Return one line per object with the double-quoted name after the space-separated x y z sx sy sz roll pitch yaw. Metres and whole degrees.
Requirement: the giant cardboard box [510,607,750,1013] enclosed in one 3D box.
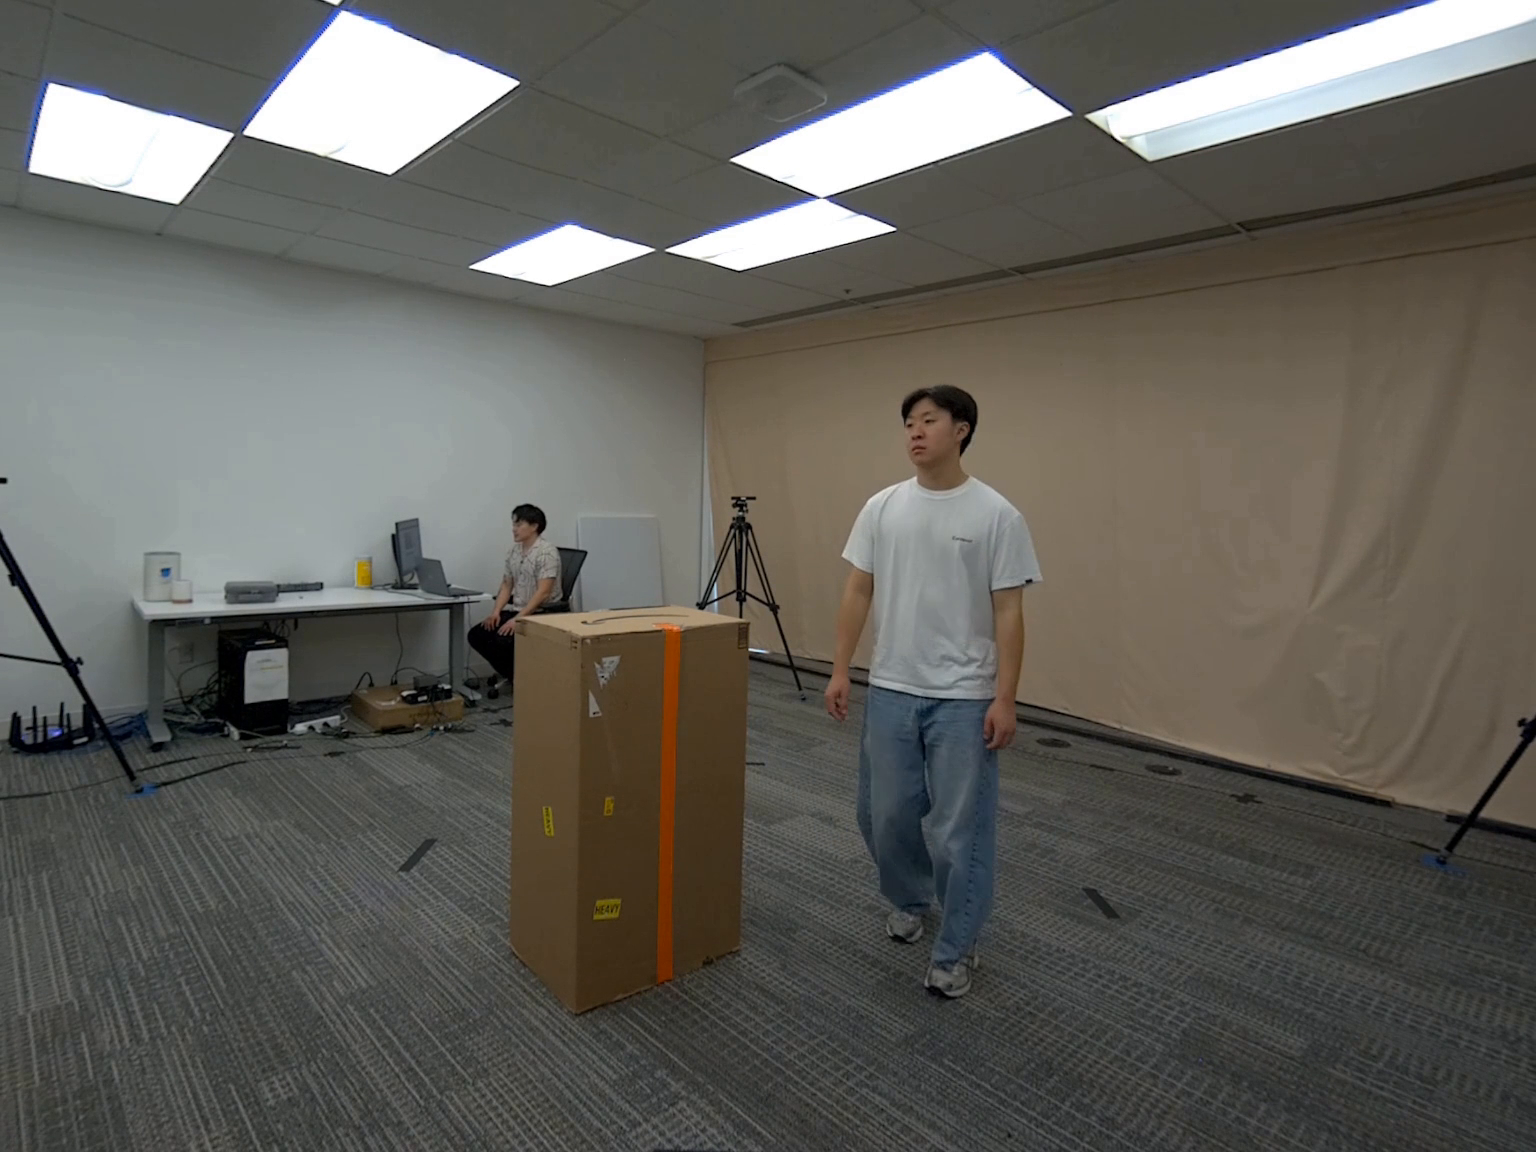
-0.421 0.640 2.559 0.564 1.024 0.437 -1 4 -40 "giant cardboard box"
